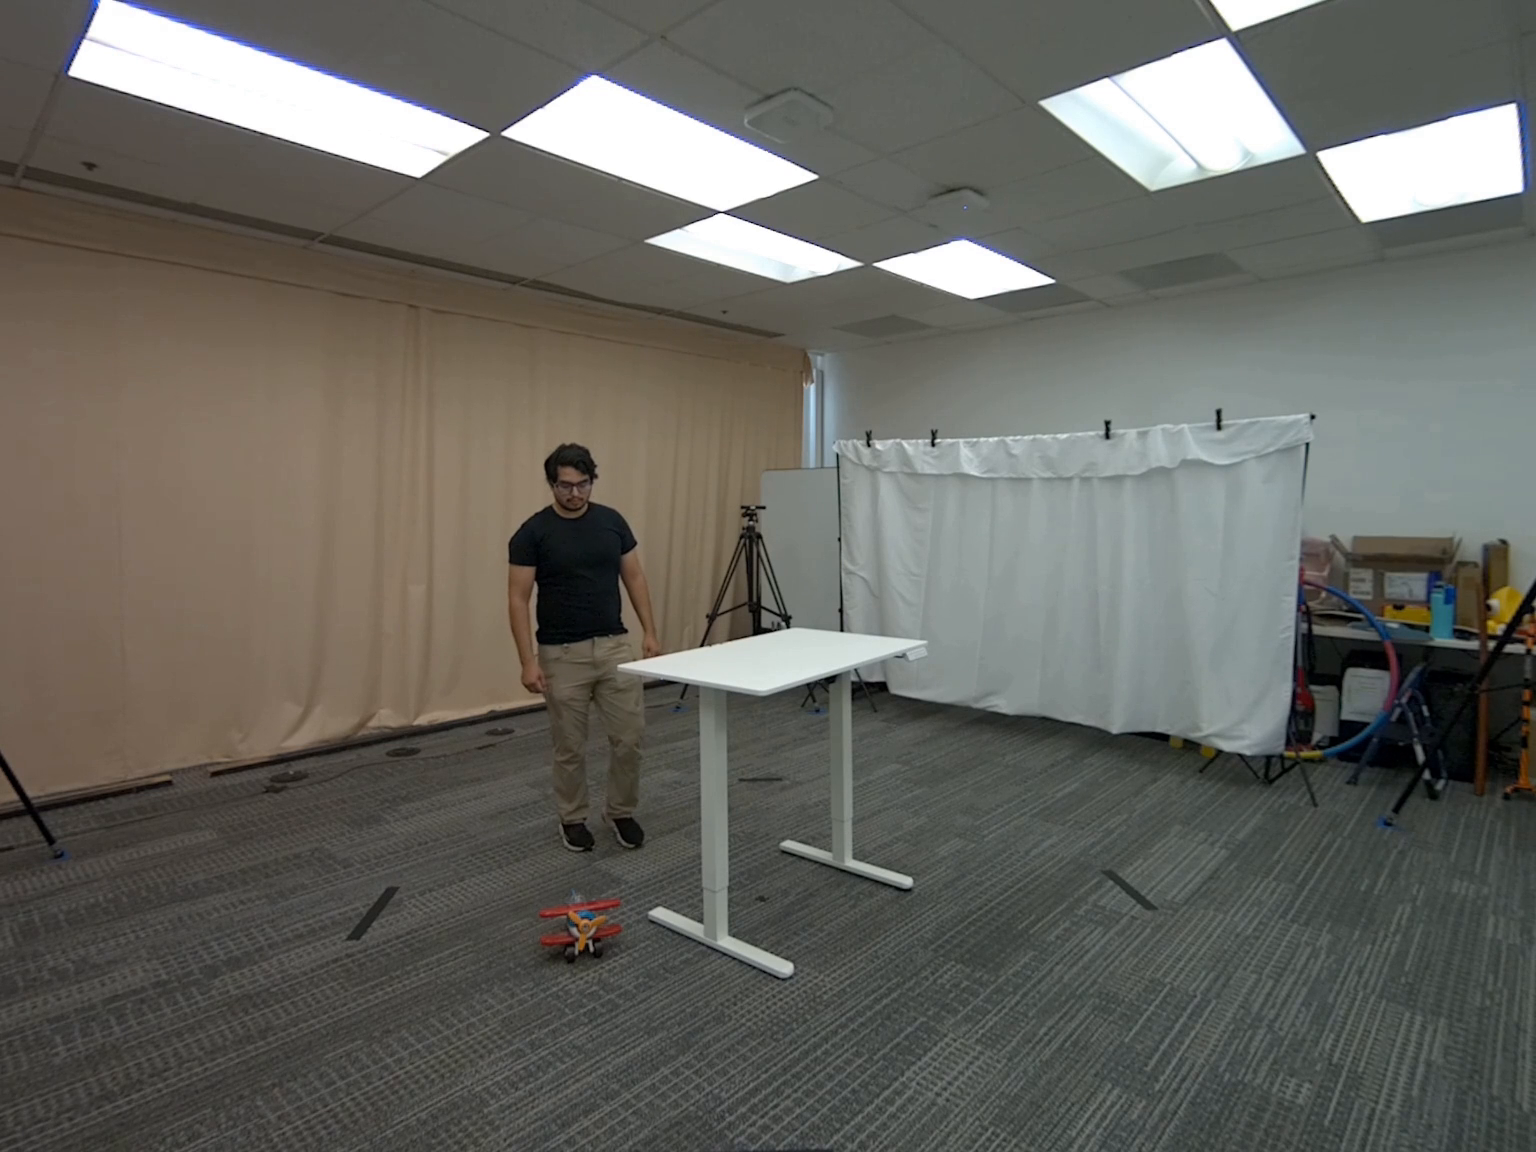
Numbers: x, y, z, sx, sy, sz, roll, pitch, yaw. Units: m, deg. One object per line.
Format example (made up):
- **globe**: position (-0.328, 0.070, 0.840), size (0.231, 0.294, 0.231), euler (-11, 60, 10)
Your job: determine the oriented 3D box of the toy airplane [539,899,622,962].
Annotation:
- **toy airplane**: position (-0.617, 1.098, 2.672), size (0.268, 0.156, 0.243), euler (5, 7, 43)
